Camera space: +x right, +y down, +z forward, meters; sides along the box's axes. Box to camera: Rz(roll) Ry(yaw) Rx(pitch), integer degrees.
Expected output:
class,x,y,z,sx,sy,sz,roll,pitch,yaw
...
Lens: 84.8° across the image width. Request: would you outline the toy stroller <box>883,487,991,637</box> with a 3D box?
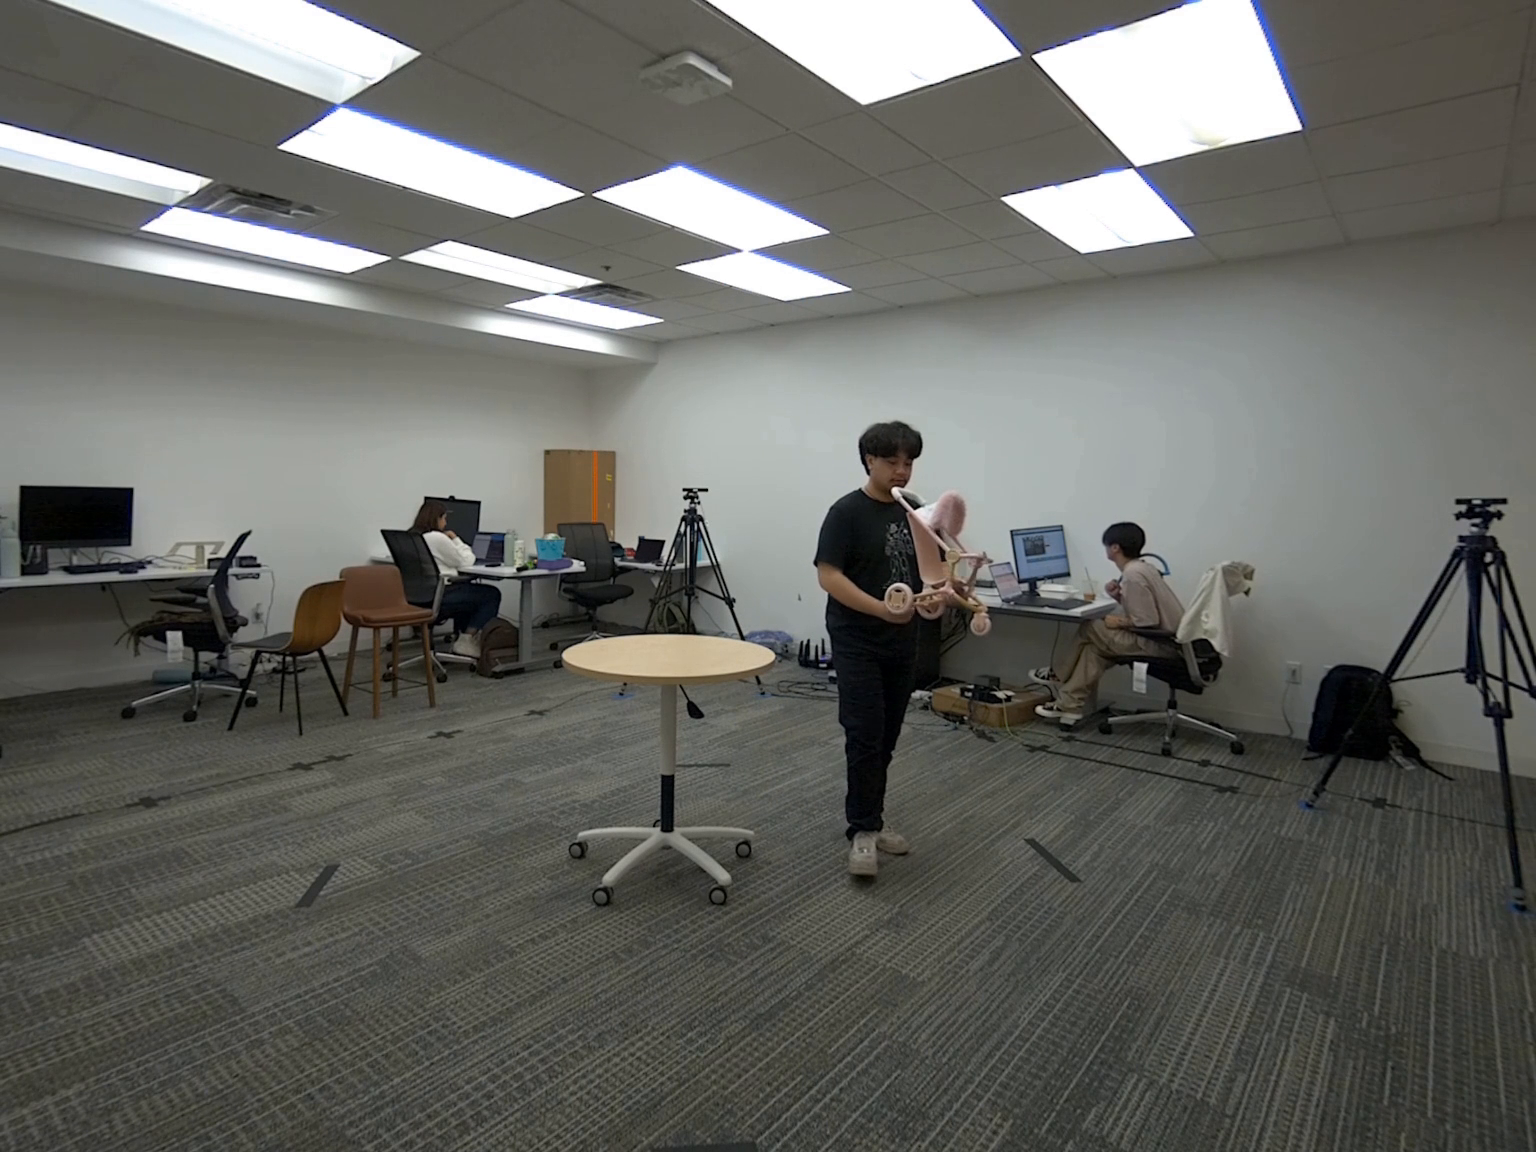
class,x,y,z,sx,sy,sz,roll,pitch,yaw
toy stroller,0.610,-0.063,2.979,0.351,0.539,0.271,-5,-10,42
